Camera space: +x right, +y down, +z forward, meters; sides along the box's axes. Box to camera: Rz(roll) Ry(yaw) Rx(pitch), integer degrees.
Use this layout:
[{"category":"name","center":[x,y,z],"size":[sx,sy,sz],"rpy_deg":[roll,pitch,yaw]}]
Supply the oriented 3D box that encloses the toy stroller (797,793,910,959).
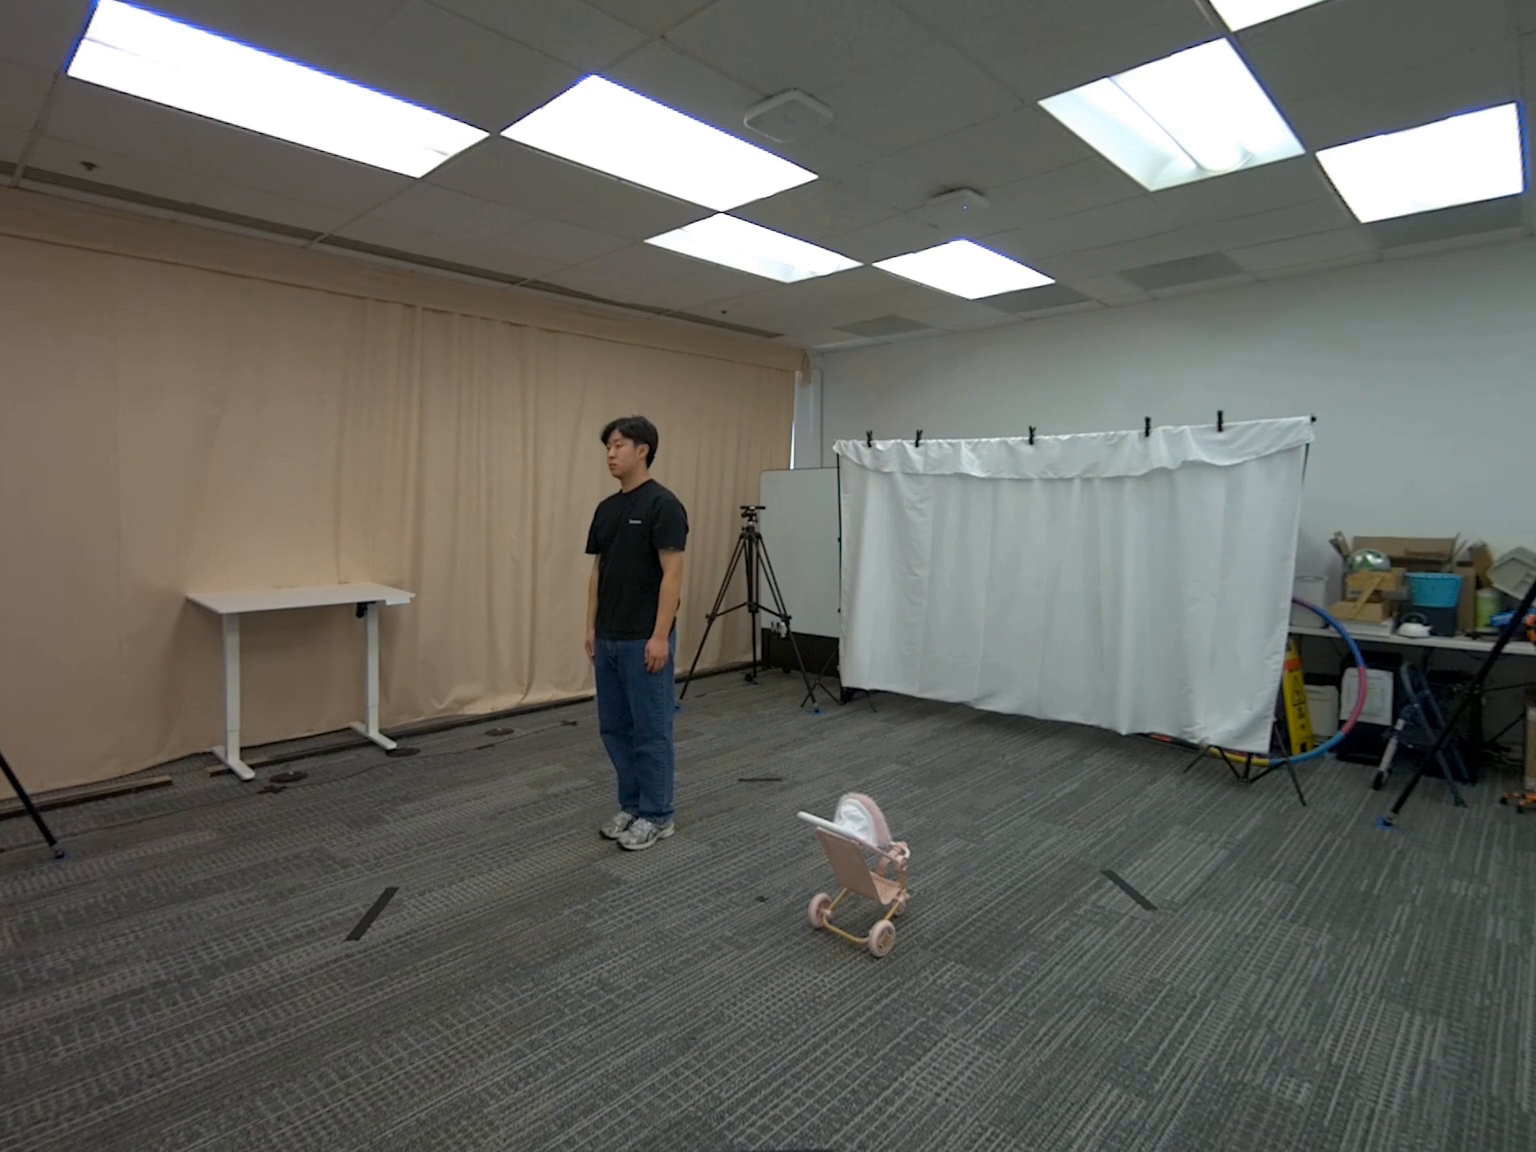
[{"category":"toy stroller","center":[0.315,0.939,2.722],"size":[0.334,0.529,0.291],"rpy_deg":[-22,16,-37]}]
